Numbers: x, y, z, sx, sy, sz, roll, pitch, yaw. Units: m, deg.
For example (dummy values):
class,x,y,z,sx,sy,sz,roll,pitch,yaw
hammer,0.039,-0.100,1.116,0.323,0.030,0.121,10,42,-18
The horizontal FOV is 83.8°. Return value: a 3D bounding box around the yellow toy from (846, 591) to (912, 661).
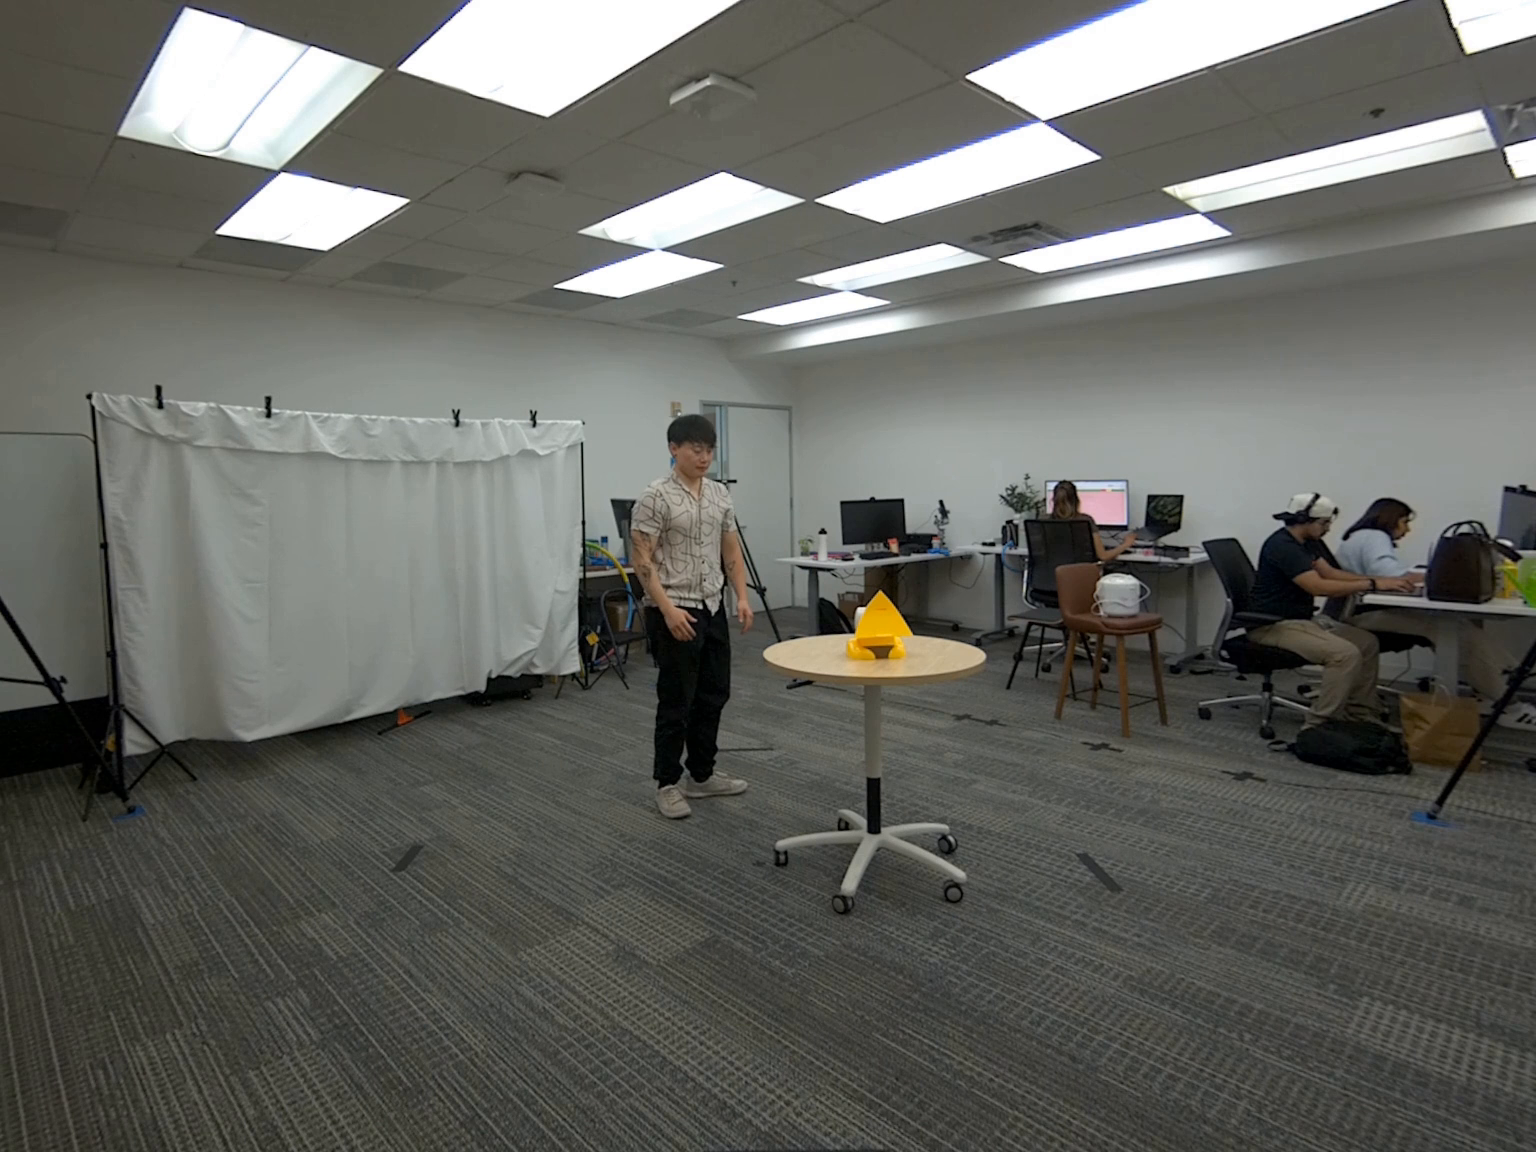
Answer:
class,x,y,z,sx,sy,sz,roll,pitch,yaw
yellow toy,0.372,0.158,2.952,0.203,0.230,0.195,-2,5,-9
